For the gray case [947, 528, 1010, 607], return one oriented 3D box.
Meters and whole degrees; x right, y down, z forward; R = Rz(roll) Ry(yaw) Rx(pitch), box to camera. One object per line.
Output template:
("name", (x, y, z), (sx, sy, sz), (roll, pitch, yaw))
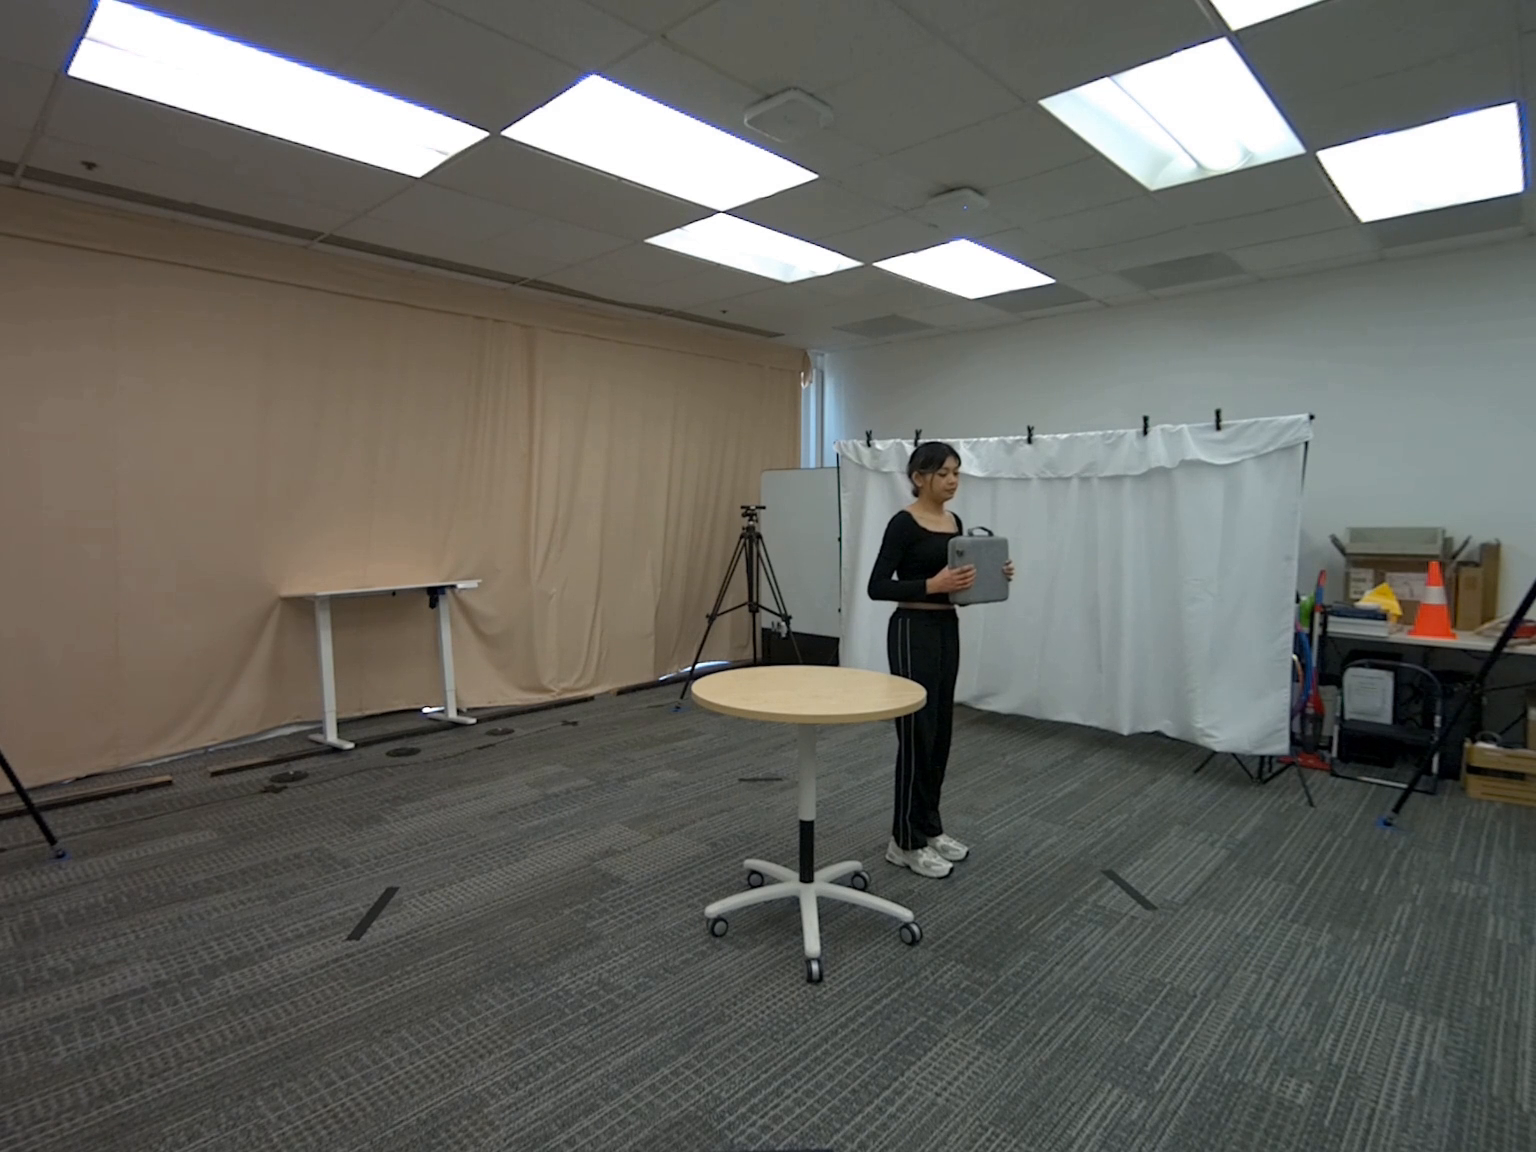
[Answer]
("gray case", (0.796, -0.026, 3.167), (0.249, 0.260, 0.107), (-3, 4, -35))
